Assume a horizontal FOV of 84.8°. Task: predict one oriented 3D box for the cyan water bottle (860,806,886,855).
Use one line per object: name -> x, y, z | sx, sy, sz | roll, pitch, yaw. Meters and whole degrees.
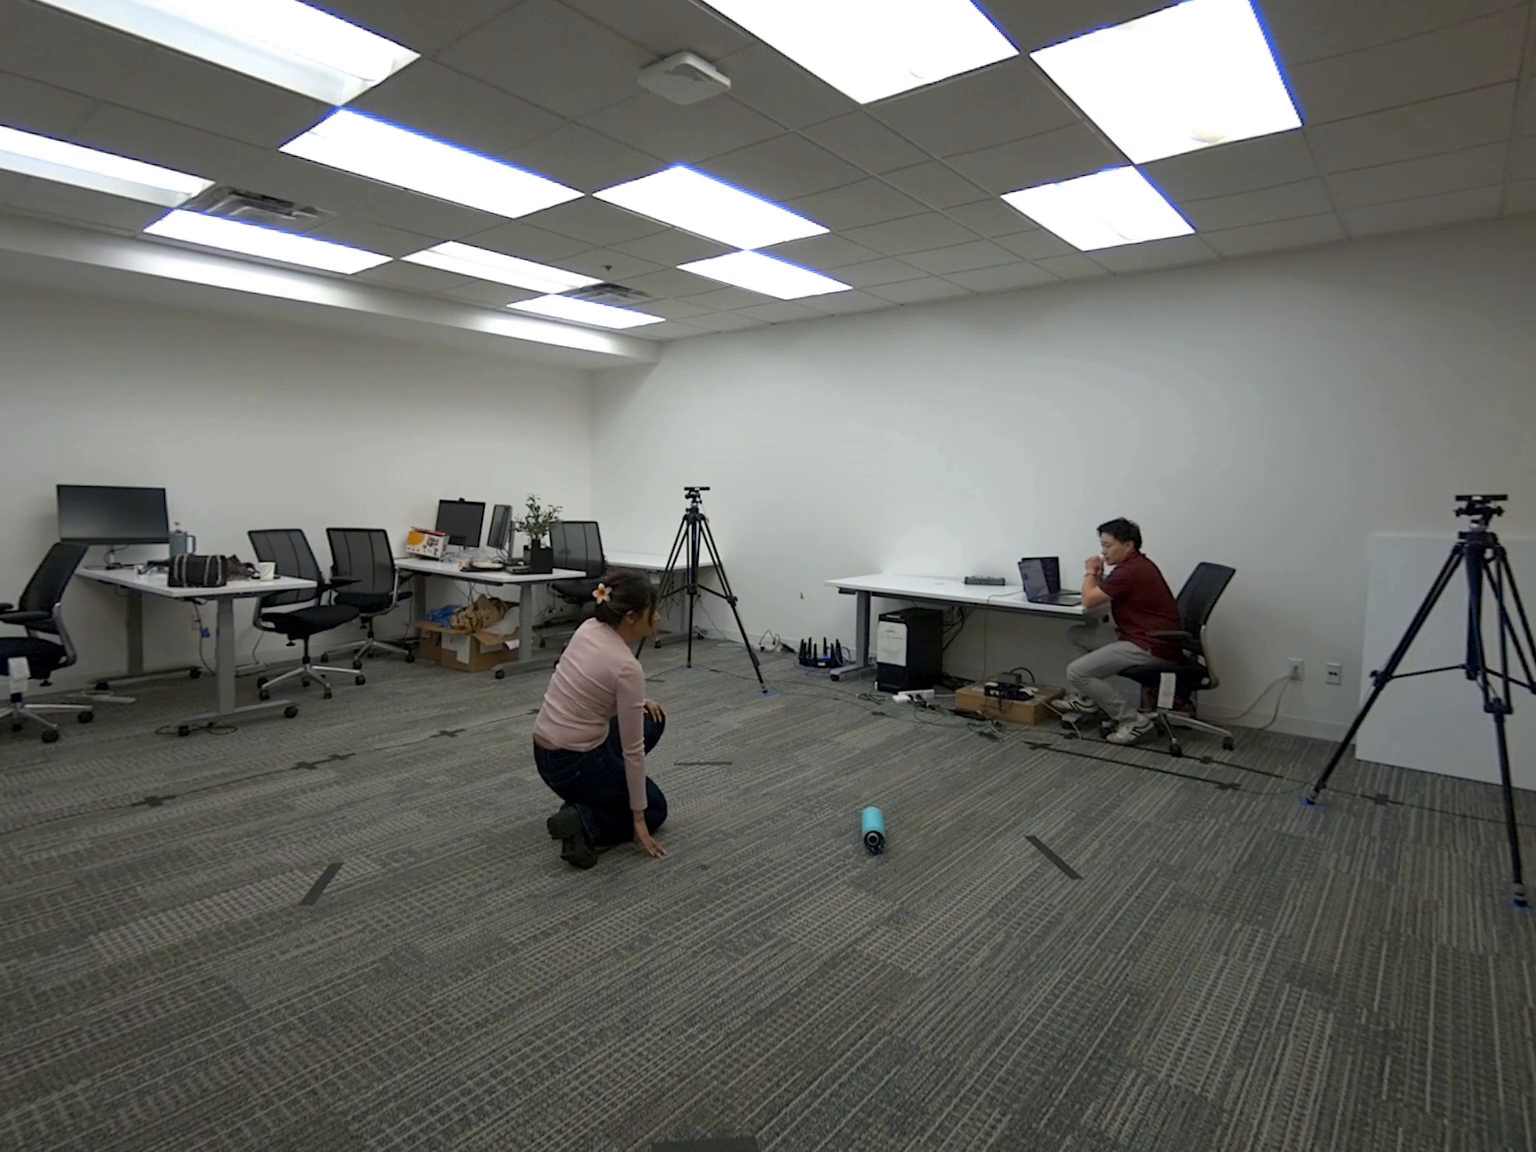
cyan water bottle -> 0.416, 1.006, 3.370 | 0.093, 0.092, 0.282 | 1, 4, 5
